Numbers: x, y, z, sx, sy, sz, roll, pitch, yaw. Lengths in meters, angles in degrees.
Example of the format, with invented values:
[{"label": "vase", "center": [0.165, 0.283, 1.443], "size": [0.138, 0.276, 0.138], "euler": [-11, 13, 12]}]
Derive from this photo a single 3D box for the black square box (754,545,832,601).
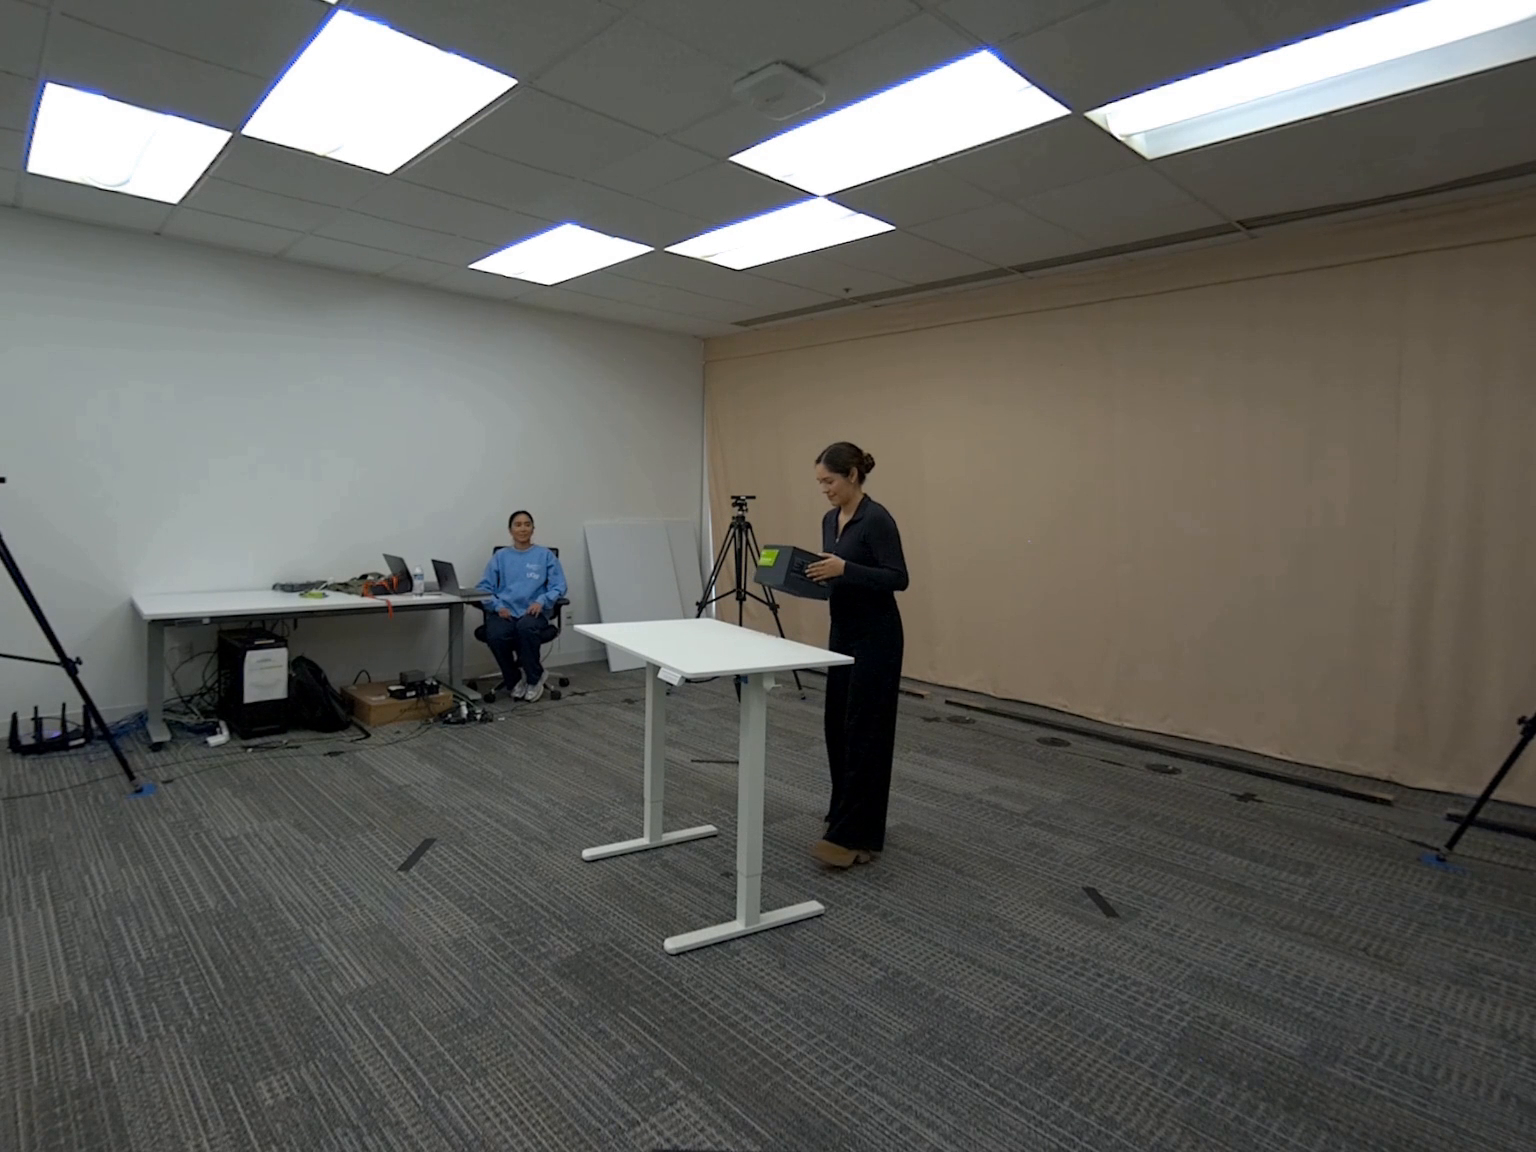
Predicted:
[{"label": "black square box", "center": [0.098, -0.011, 3.279], "size": [0.212, 0.156, 0.233], "euler": [18, -6, -29]}]
